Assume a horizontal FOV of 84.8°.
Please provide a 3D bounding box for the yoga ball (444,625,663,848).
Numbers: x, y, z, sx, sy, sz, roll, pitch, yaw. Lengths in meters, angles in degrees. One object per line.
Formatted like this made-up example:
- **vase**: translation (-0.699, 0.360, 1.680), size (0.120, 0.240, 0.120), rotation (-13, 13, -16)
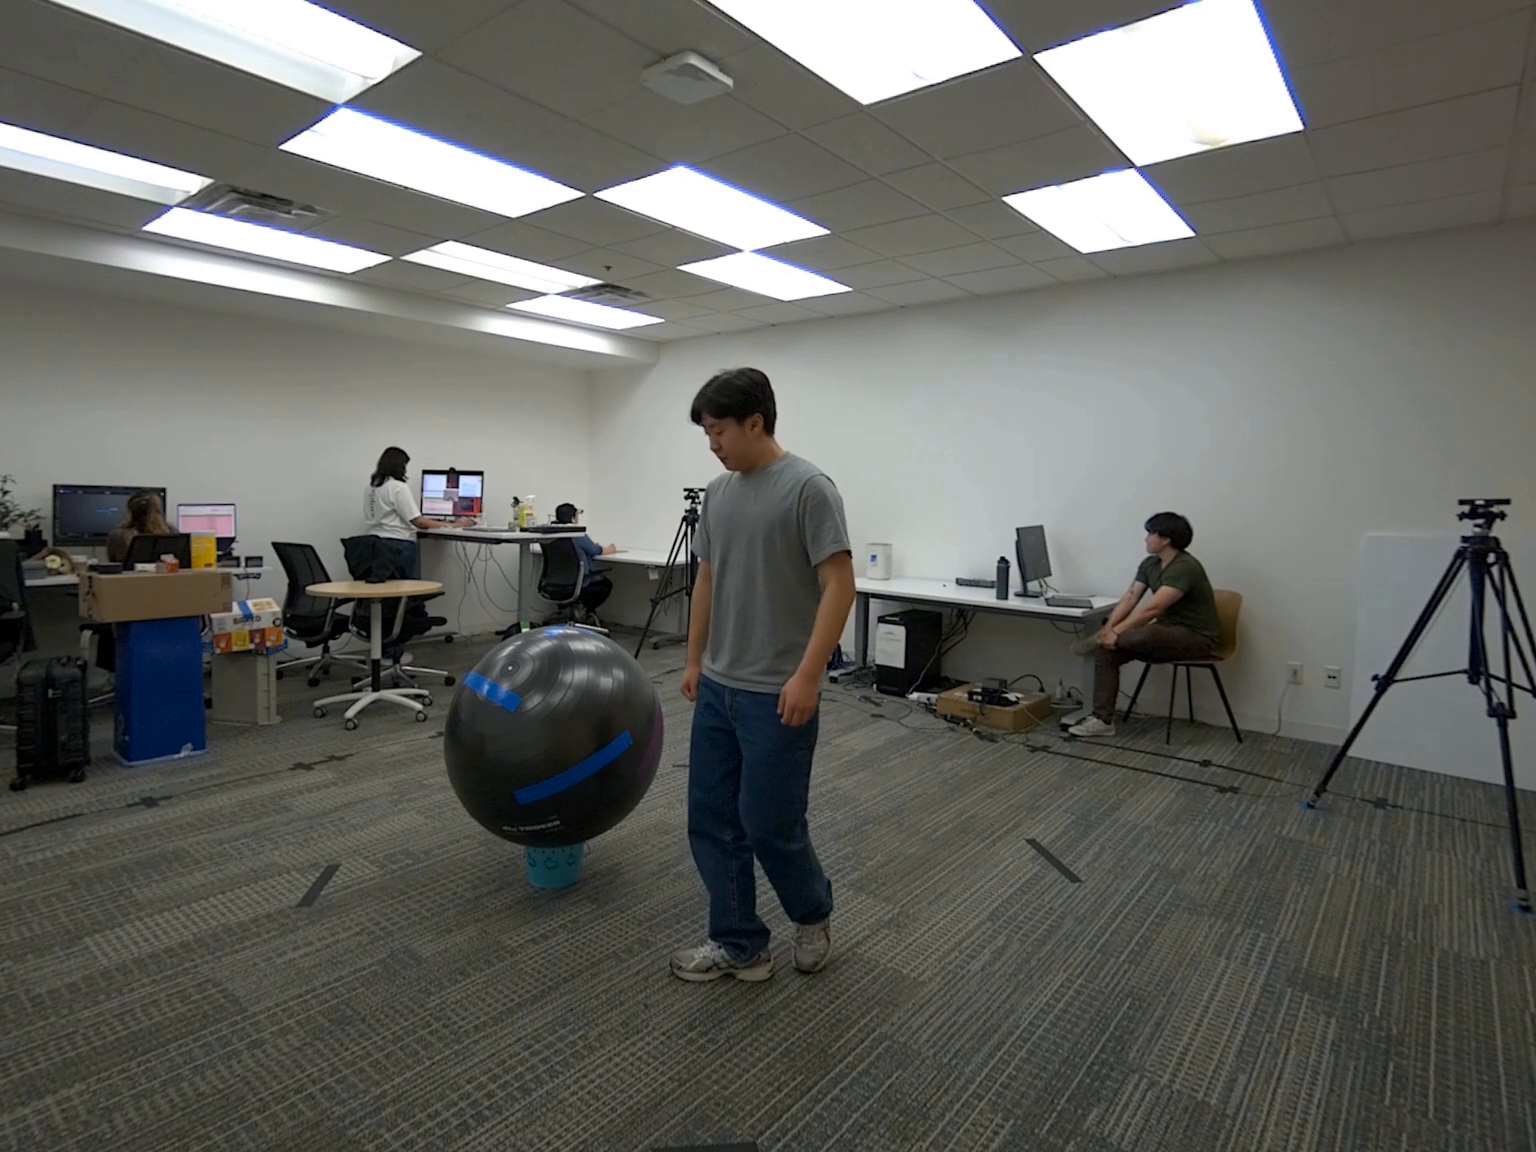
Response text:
- **yoga ball**: translation (-0.766, 0.563, 3.004), size (0.757, 0.755, 0.762), rotation (1, 4, -2)
